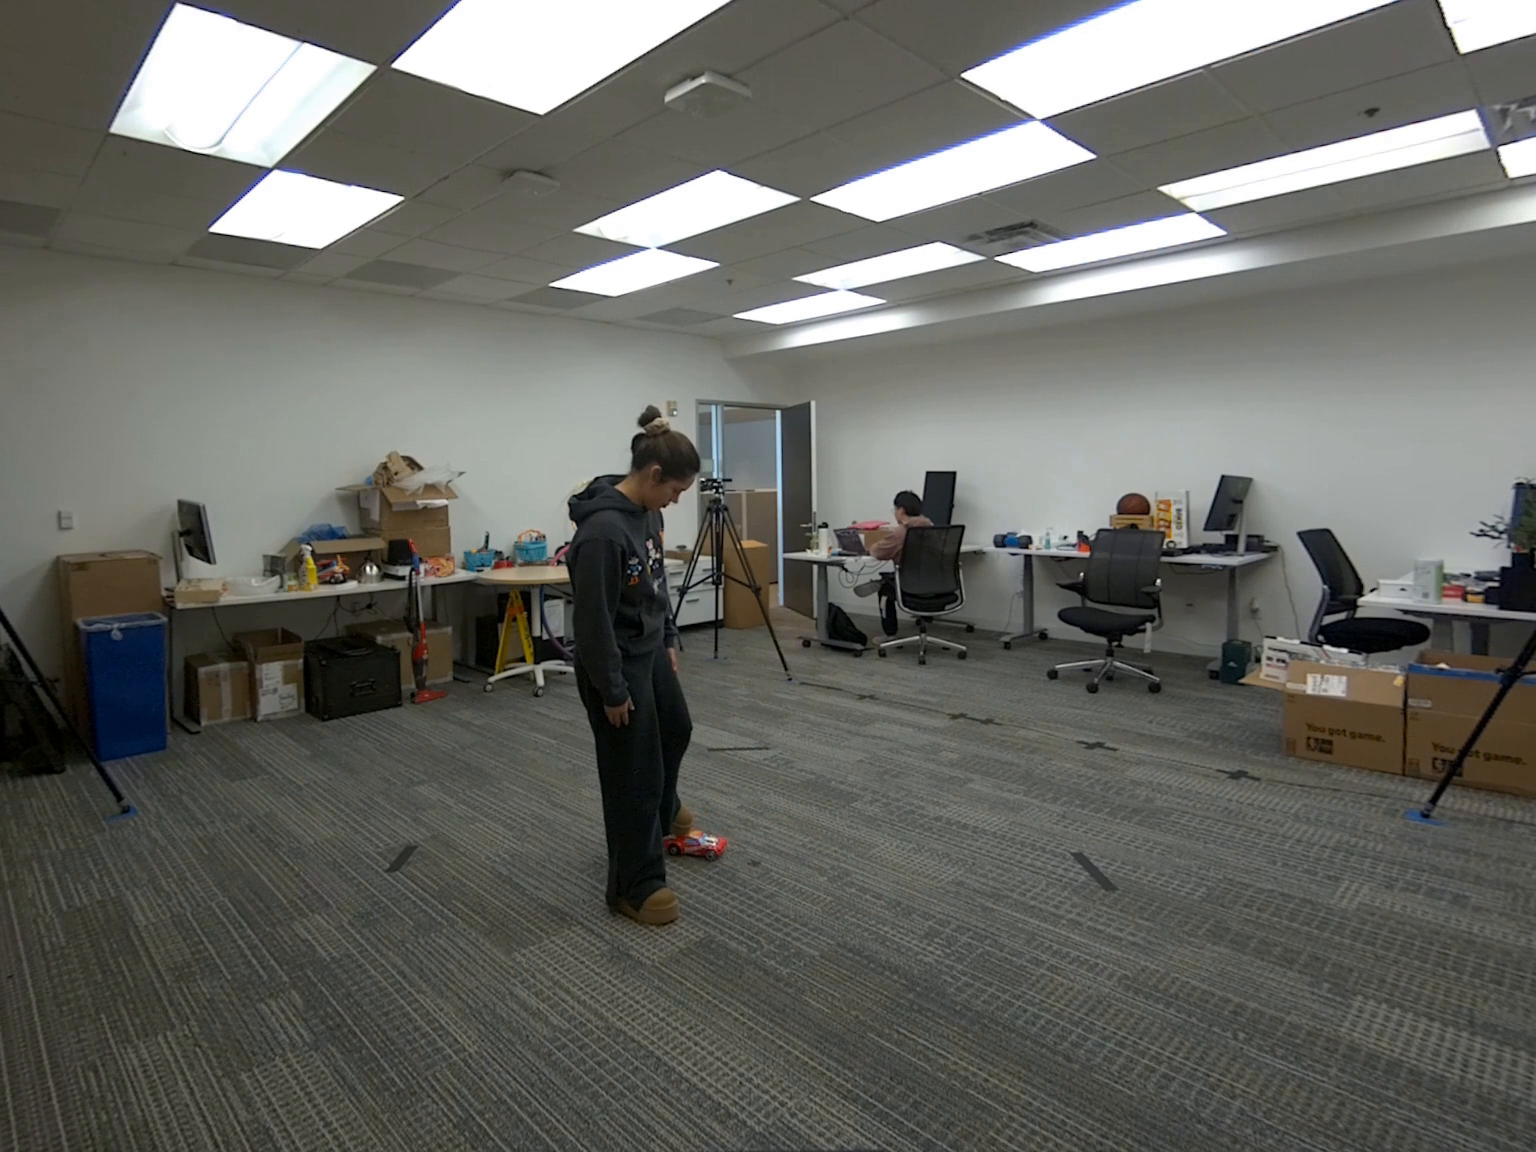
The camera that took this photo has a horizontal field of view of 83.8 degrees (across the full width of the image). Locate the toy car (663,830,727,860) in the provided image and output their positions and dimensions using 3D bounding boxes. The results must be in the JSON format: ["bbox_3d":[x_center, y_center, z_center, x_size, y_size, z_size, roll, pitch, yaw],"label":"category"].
[{"bbox_3d":[-0.284,1.008,3.198,0.259,0.082,0.129,11,10,17],"label":"toy car"}]
